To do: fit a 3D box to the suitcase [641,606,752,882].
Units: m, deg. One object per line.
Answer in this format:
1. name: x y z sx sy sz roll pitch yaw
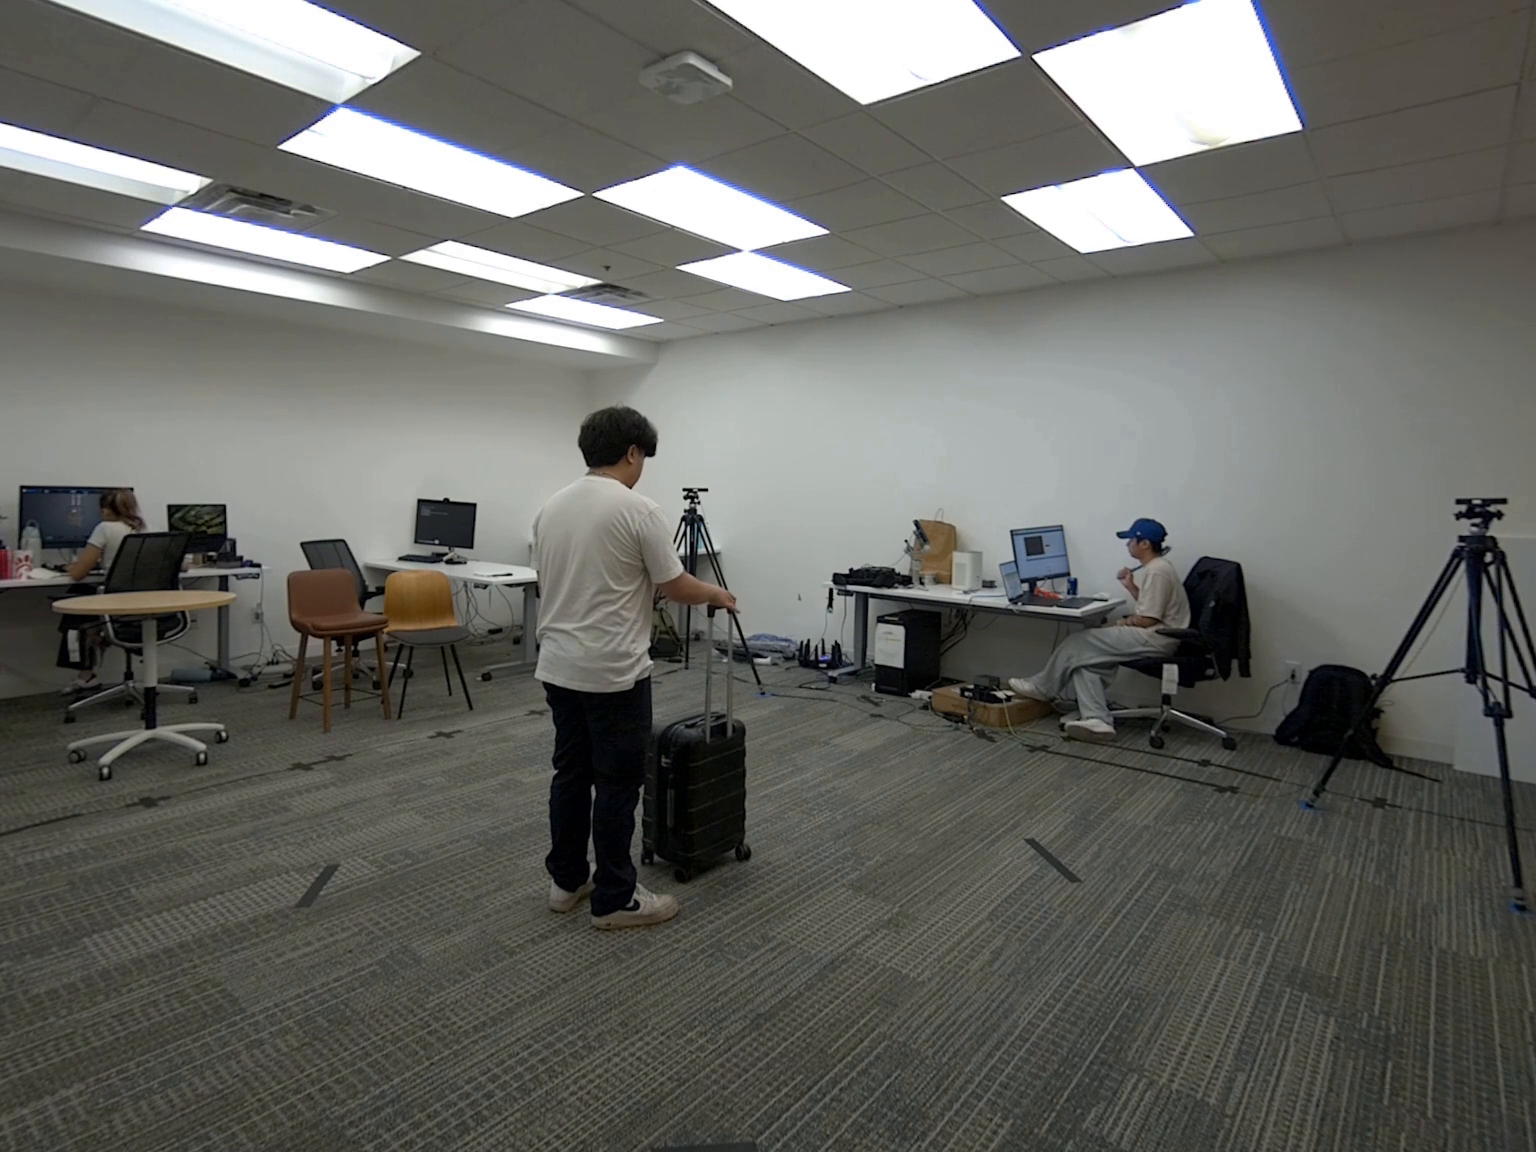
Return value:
1. suitcase: -0.272 0.590 3.157 0.265 0.977 0.372 2 3 40
